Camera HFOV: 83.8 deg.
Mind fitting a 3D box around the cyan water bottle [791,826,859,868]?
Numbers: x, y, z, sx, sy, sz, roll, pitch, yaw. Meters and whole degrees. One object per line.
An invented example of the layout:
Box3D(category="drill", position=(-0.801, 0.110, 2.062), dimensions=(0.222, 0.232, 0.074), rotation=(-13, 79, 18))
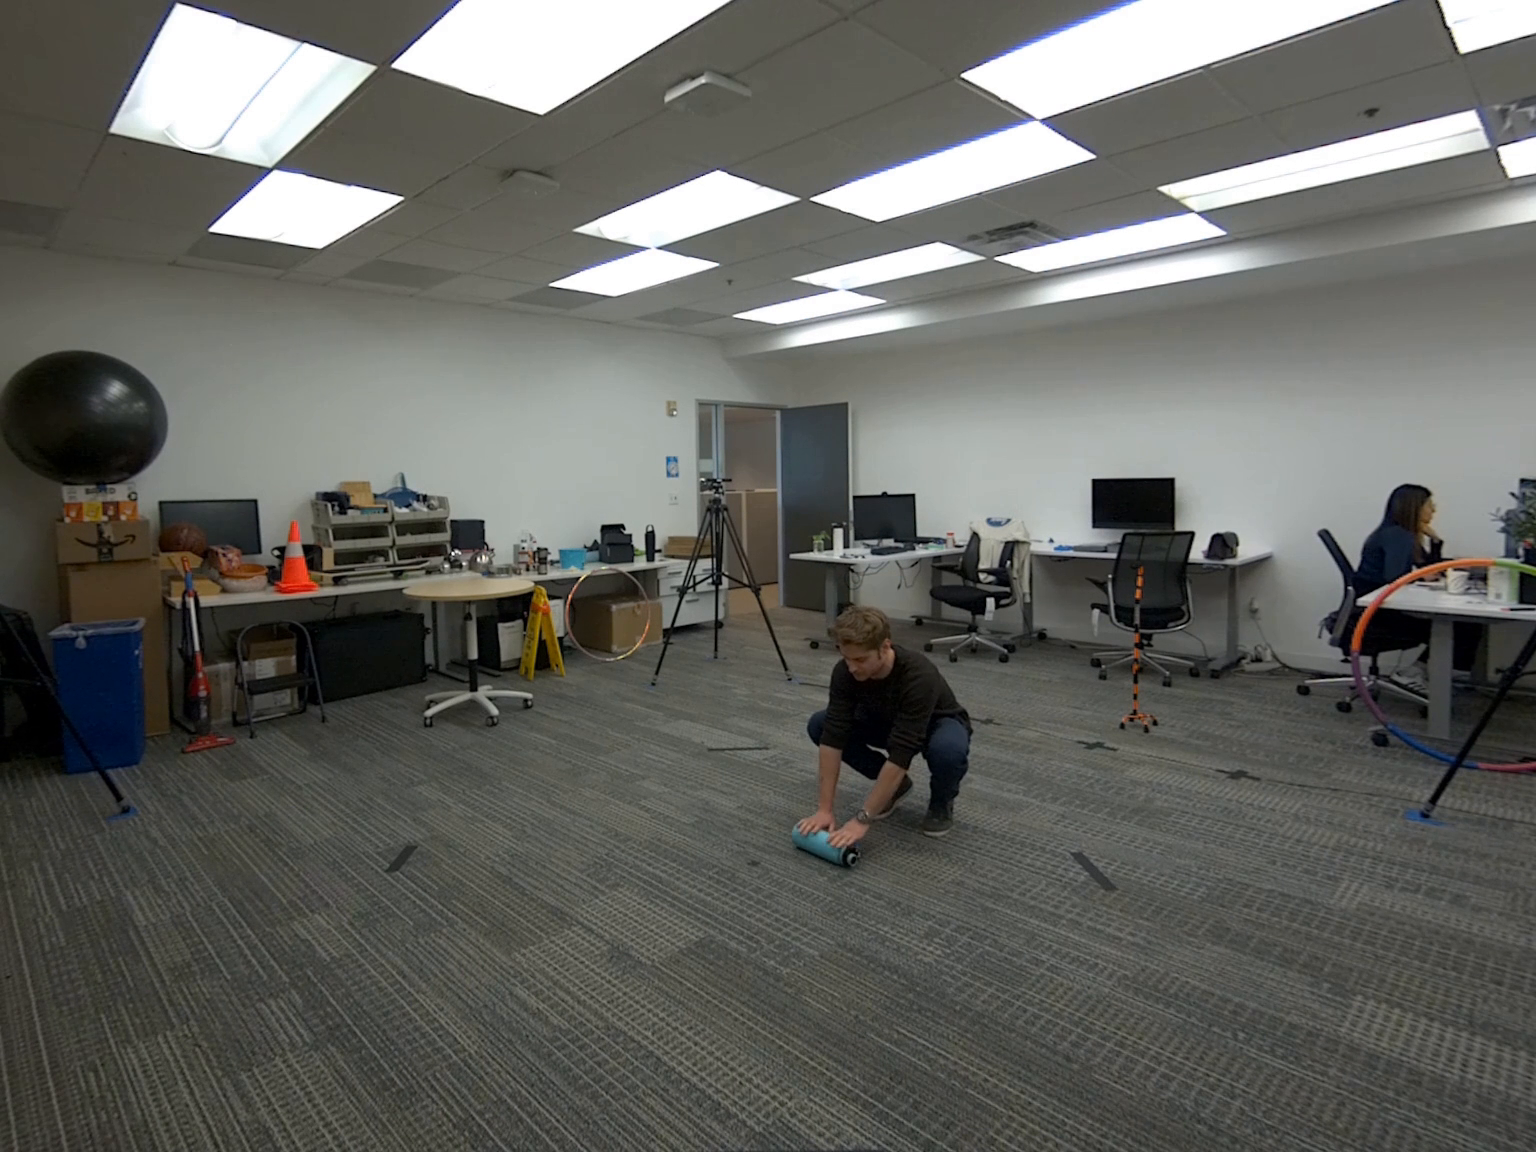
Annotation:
Box3D(category="cyan water bottle", position=(0.203, 0.988, 3.139), dimensions=(0.090, 0.092, 0.292), rotation=(-5, 9, -41))
